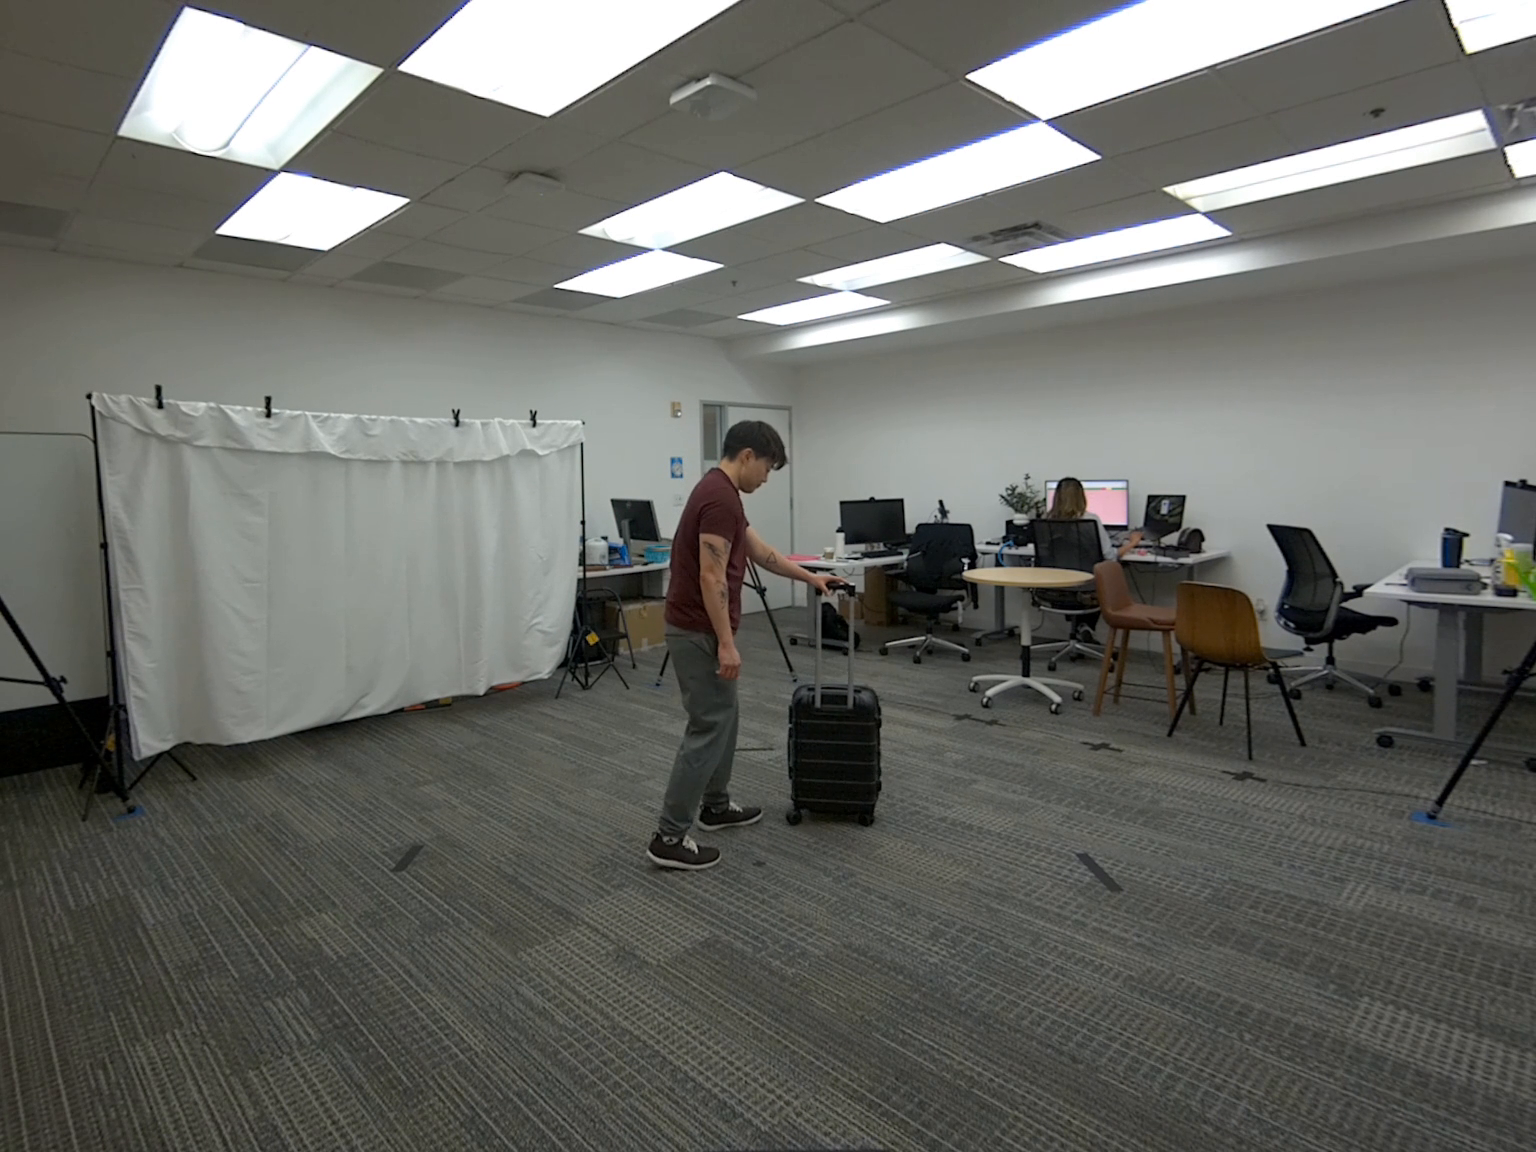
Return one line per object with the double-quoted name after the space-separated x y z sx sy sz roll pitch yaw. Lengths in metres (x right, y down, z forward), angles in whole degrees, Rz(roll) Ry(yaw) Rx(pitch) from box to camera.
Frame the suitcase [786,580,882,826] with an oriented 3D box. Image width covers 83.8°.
0.280 0.523 3.535 0.387 0.976 0.256 1 3 6 "suitcase"
